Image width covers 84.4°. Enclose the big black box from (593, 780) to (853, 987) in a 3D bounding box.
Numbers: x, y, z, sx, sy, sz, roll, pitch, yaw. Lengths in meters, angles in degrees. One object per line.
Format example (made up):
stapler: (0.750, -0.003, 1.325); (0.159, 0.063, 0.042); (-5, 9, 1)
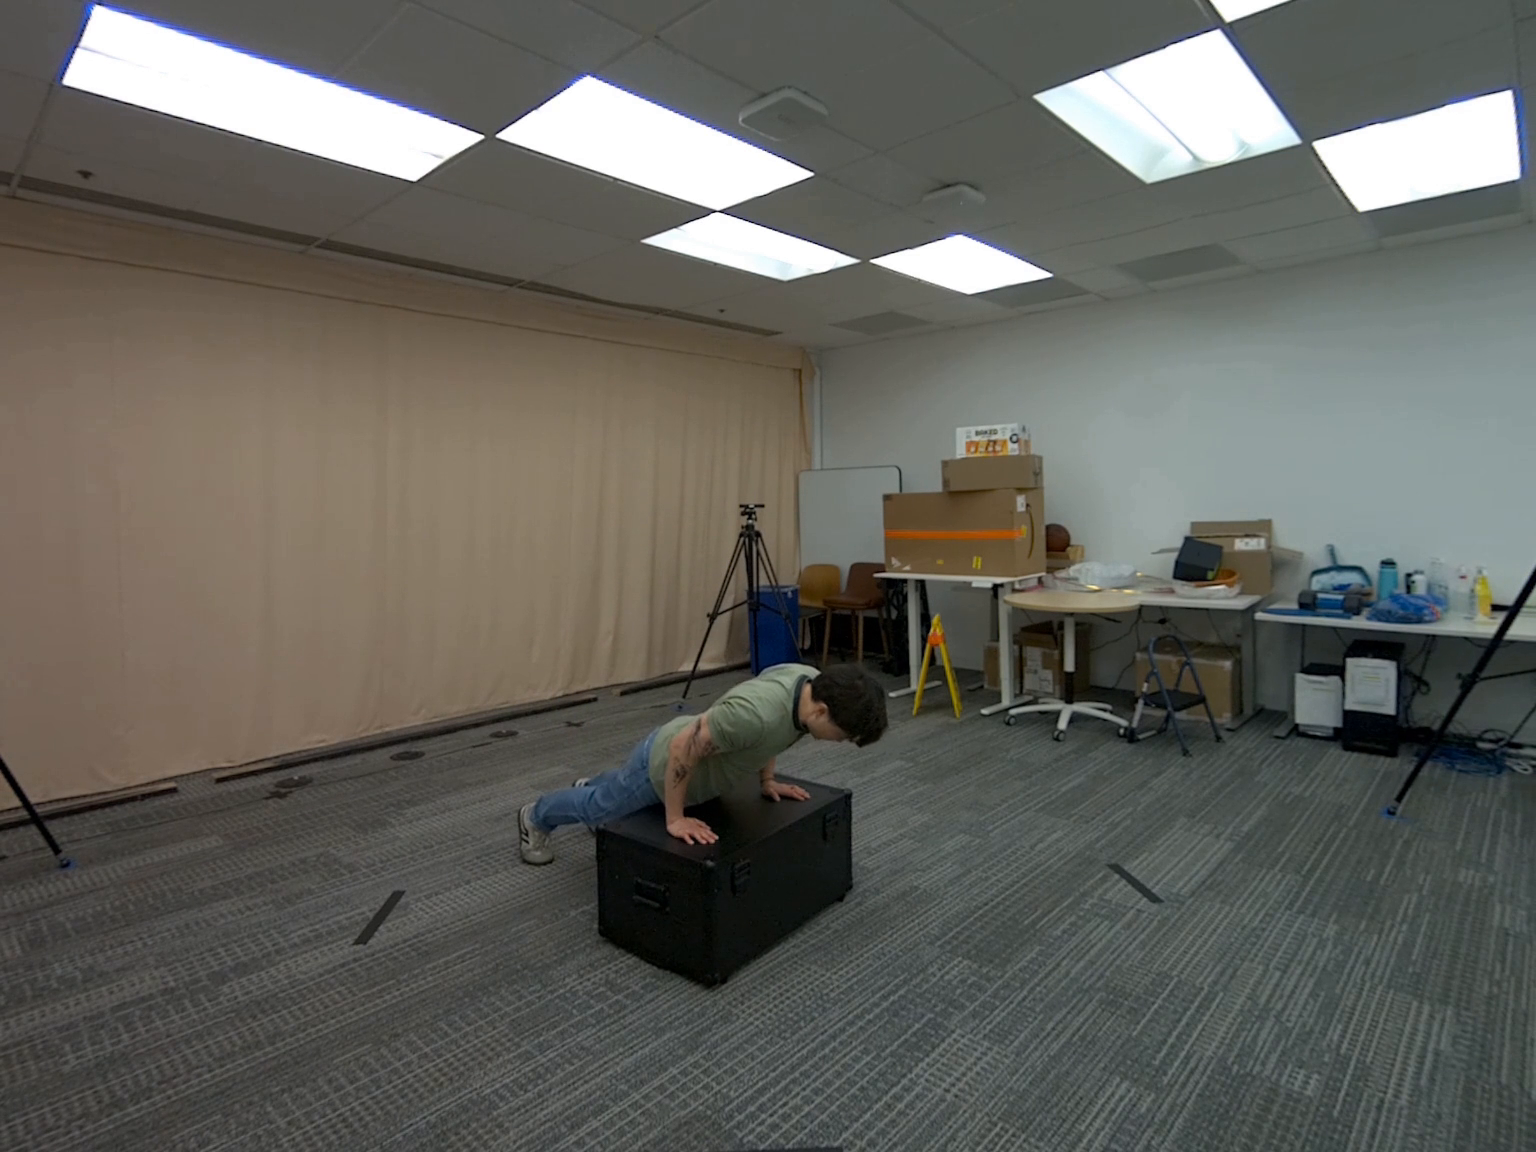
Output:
big black box: (-0.094, 0.967, 2.860); (0.538, 0.395, 0.837); (2, 7, 37)
